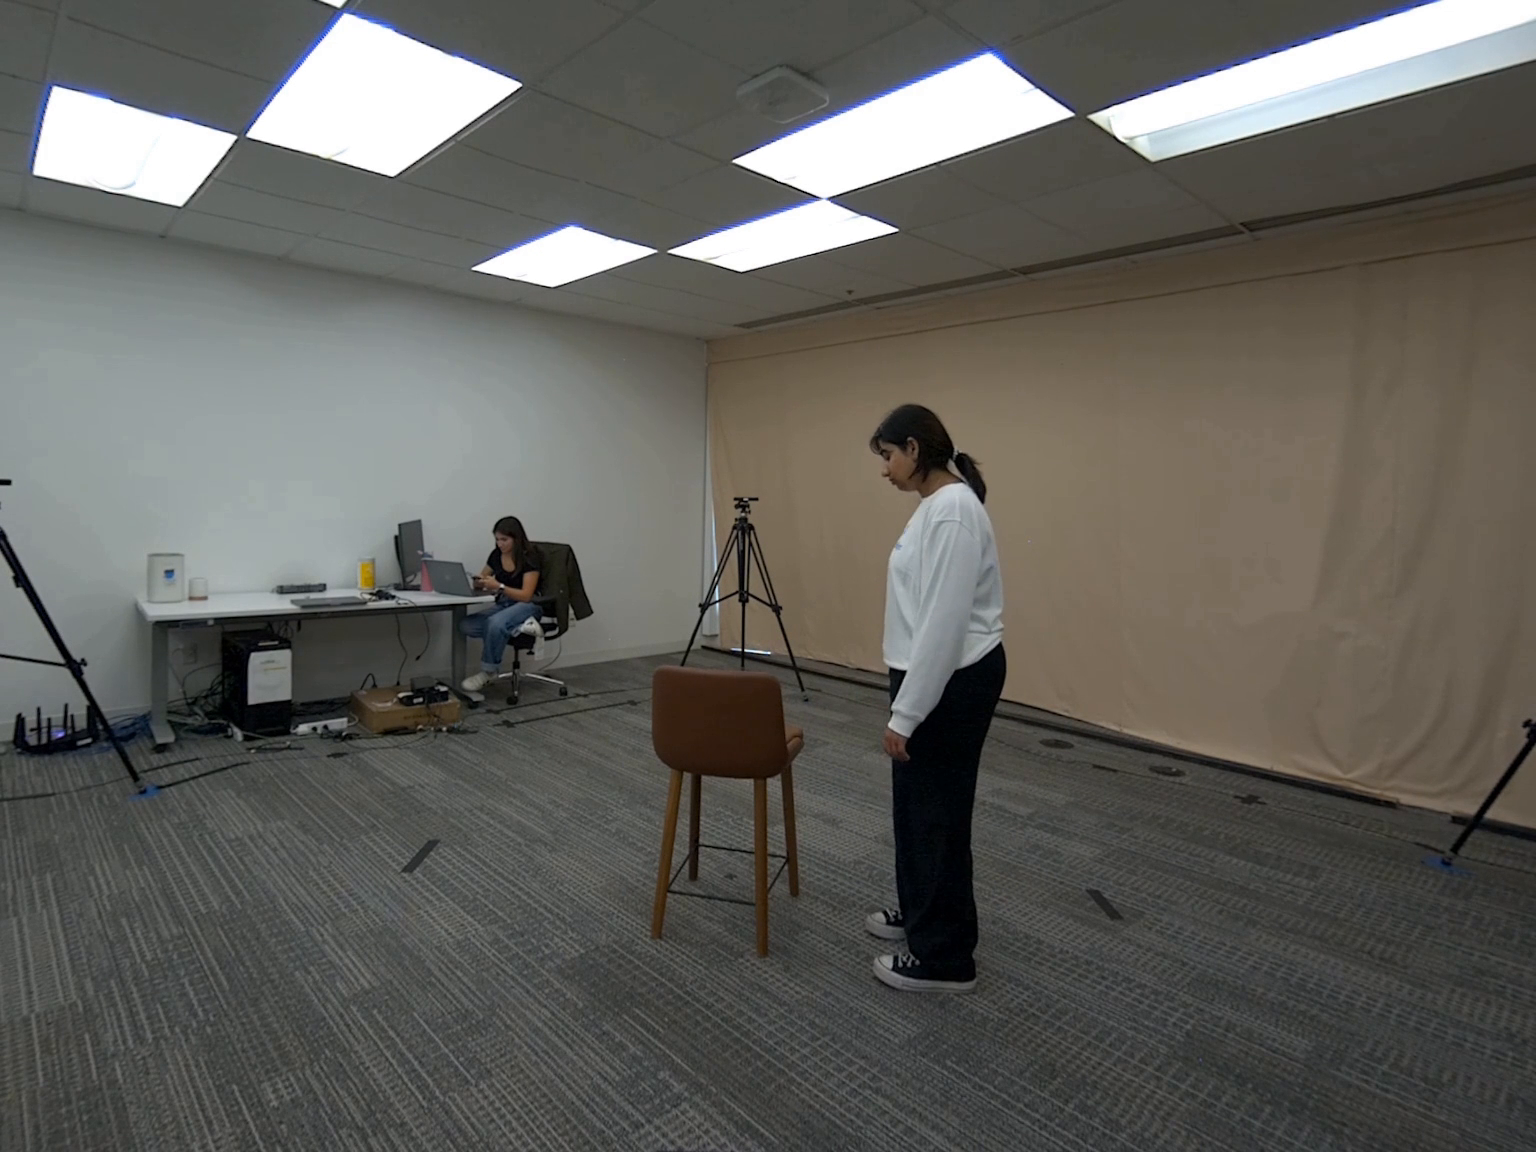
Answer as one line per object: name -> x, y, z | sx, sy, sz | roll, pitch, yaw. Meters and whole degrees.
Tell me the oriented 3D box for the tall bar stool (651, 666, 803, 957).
tall bar stool -> -0.128, 0.706, 2.789 | 0.462, 0.886, 0.463 | 3, 6, 15
